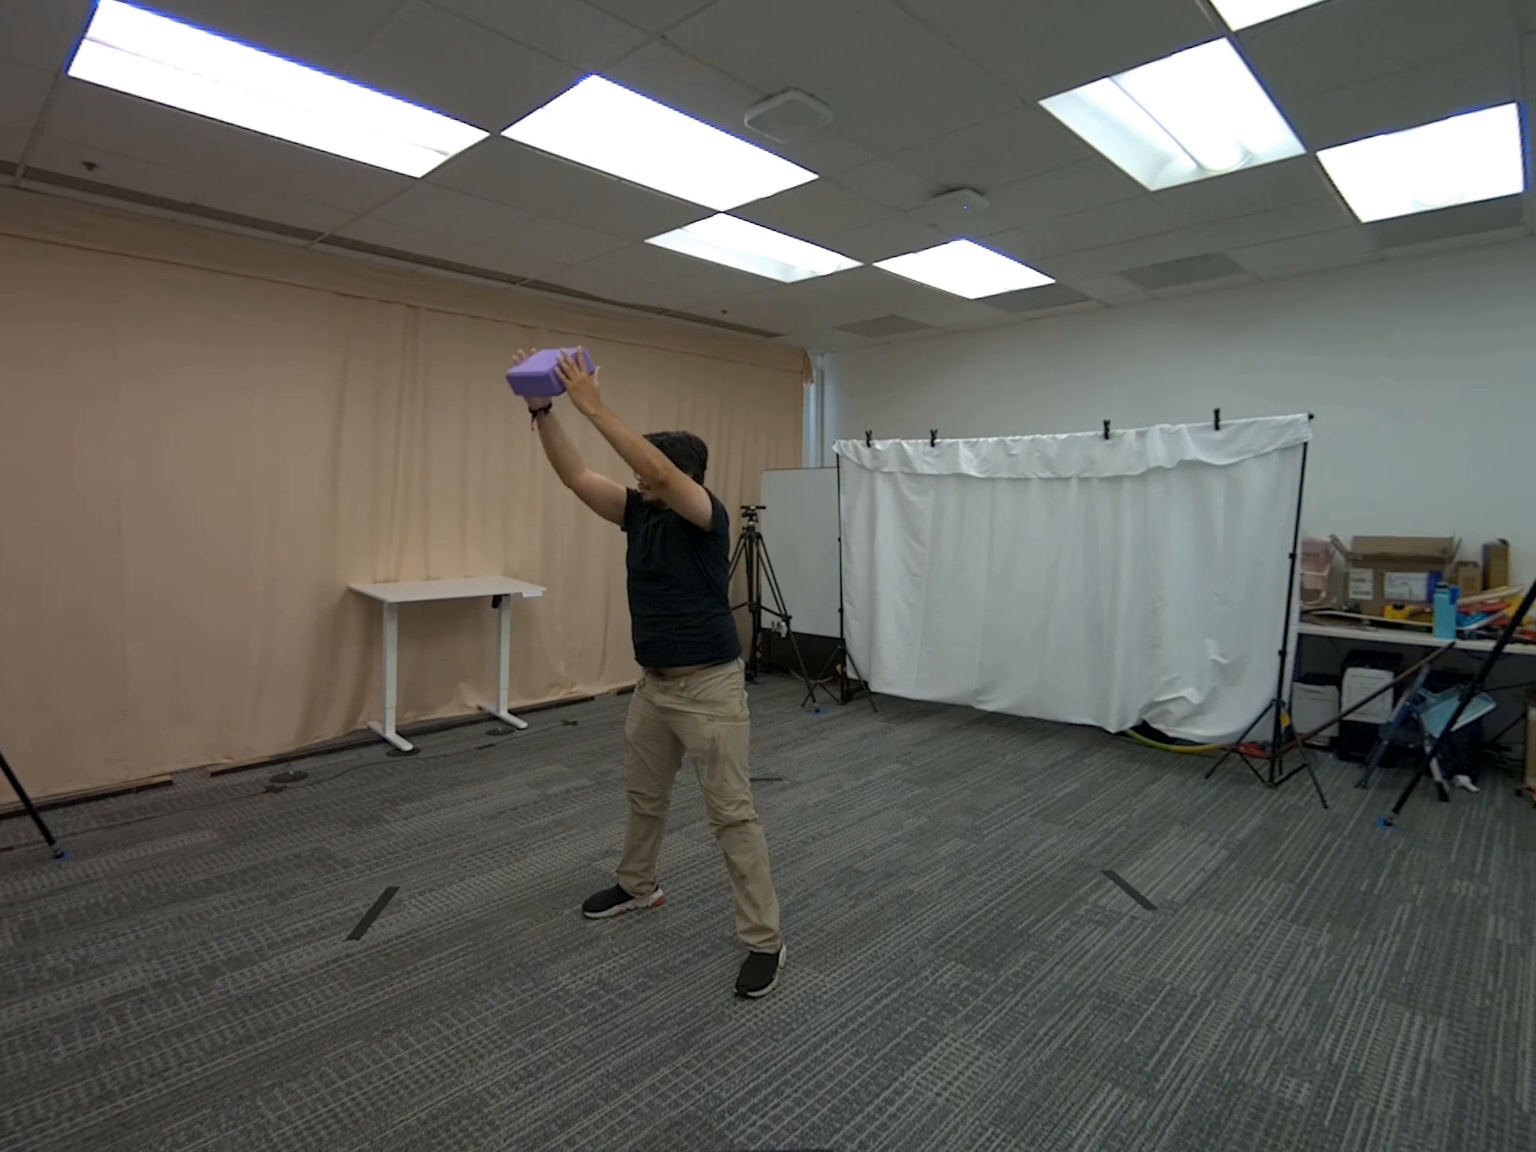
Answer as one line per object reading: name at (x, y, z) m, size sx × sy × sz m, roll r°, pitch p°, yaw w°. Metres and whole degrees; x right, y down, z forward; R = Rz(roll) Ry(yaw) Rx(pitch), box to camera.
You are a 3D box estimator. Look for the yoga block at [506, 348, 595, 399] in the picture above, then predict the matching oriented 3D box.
yoga block at (-0.597, -0.556, 2.319) m, size 0.237 × 0.074 × 0.148 m, roll 13°, pitch 48°, yaw 45°
